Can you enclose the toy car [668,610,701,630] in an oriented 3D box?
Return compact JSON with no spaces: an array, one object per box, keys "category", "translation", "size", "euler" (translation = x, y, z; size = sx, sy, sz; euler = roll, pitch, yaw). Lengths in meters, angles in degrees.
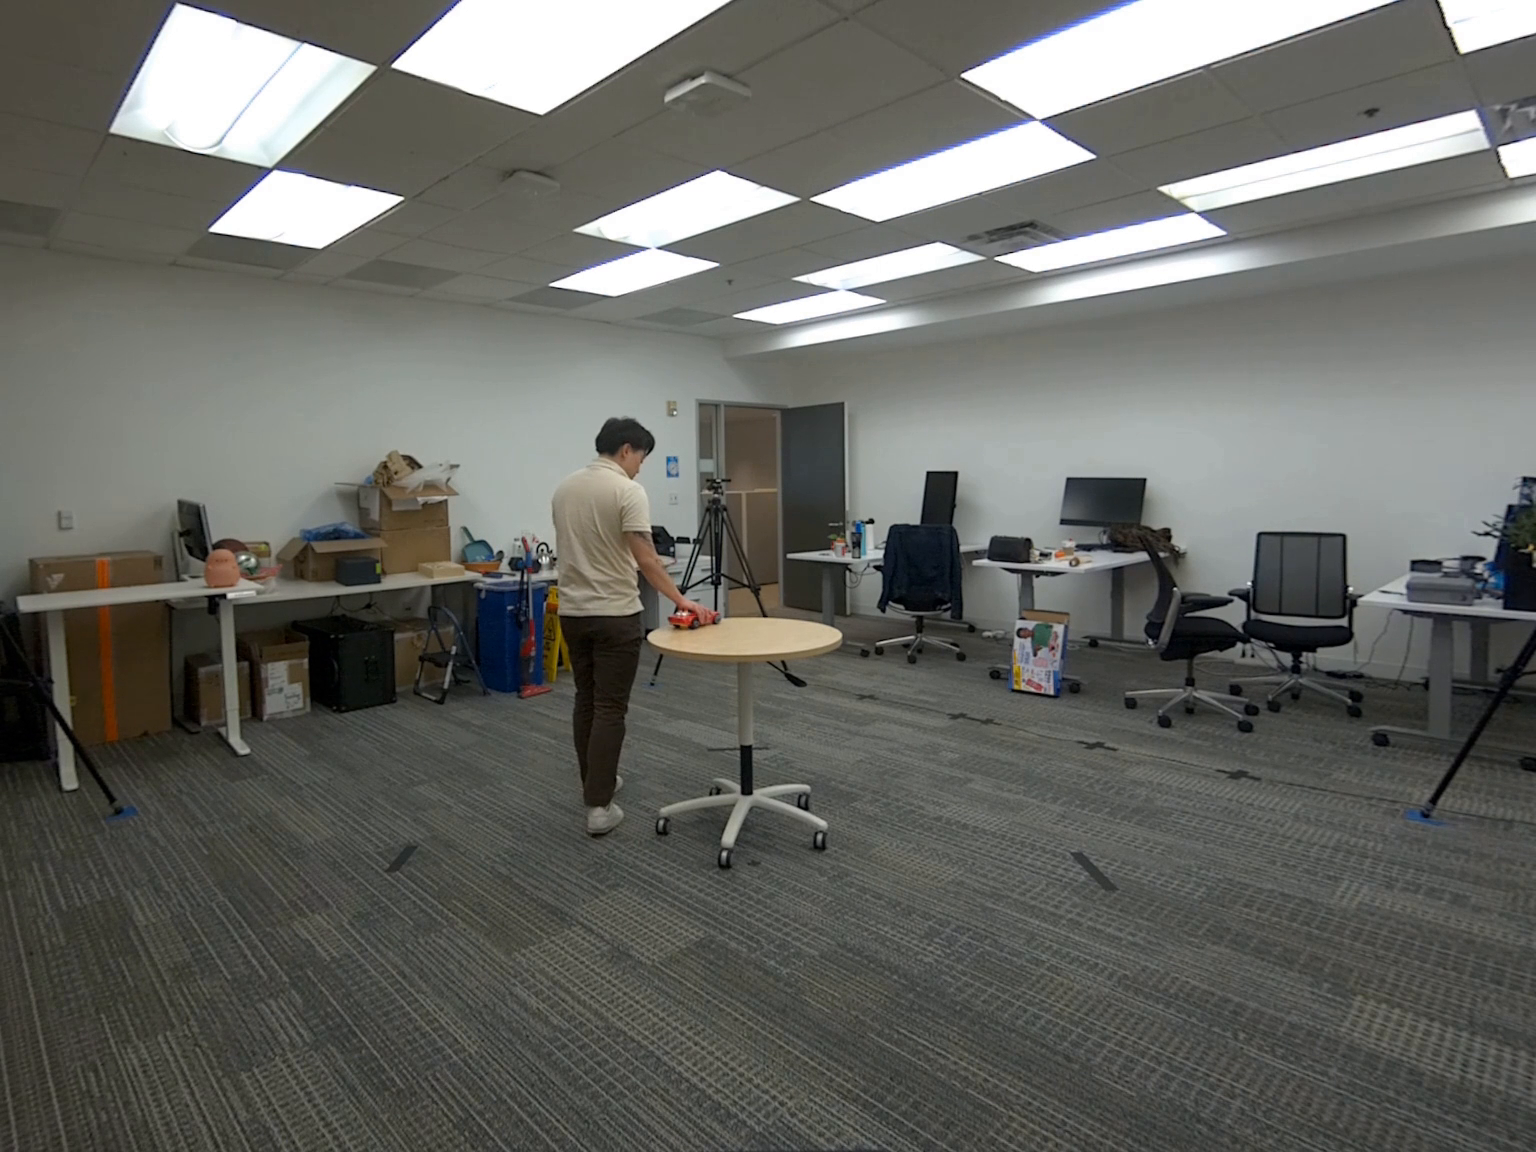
[{"category":"toy car","translation":[-0.317,0.178,3.563],"size":[0.134,0.083,0.246],"euler":[5,-2,38]}]
